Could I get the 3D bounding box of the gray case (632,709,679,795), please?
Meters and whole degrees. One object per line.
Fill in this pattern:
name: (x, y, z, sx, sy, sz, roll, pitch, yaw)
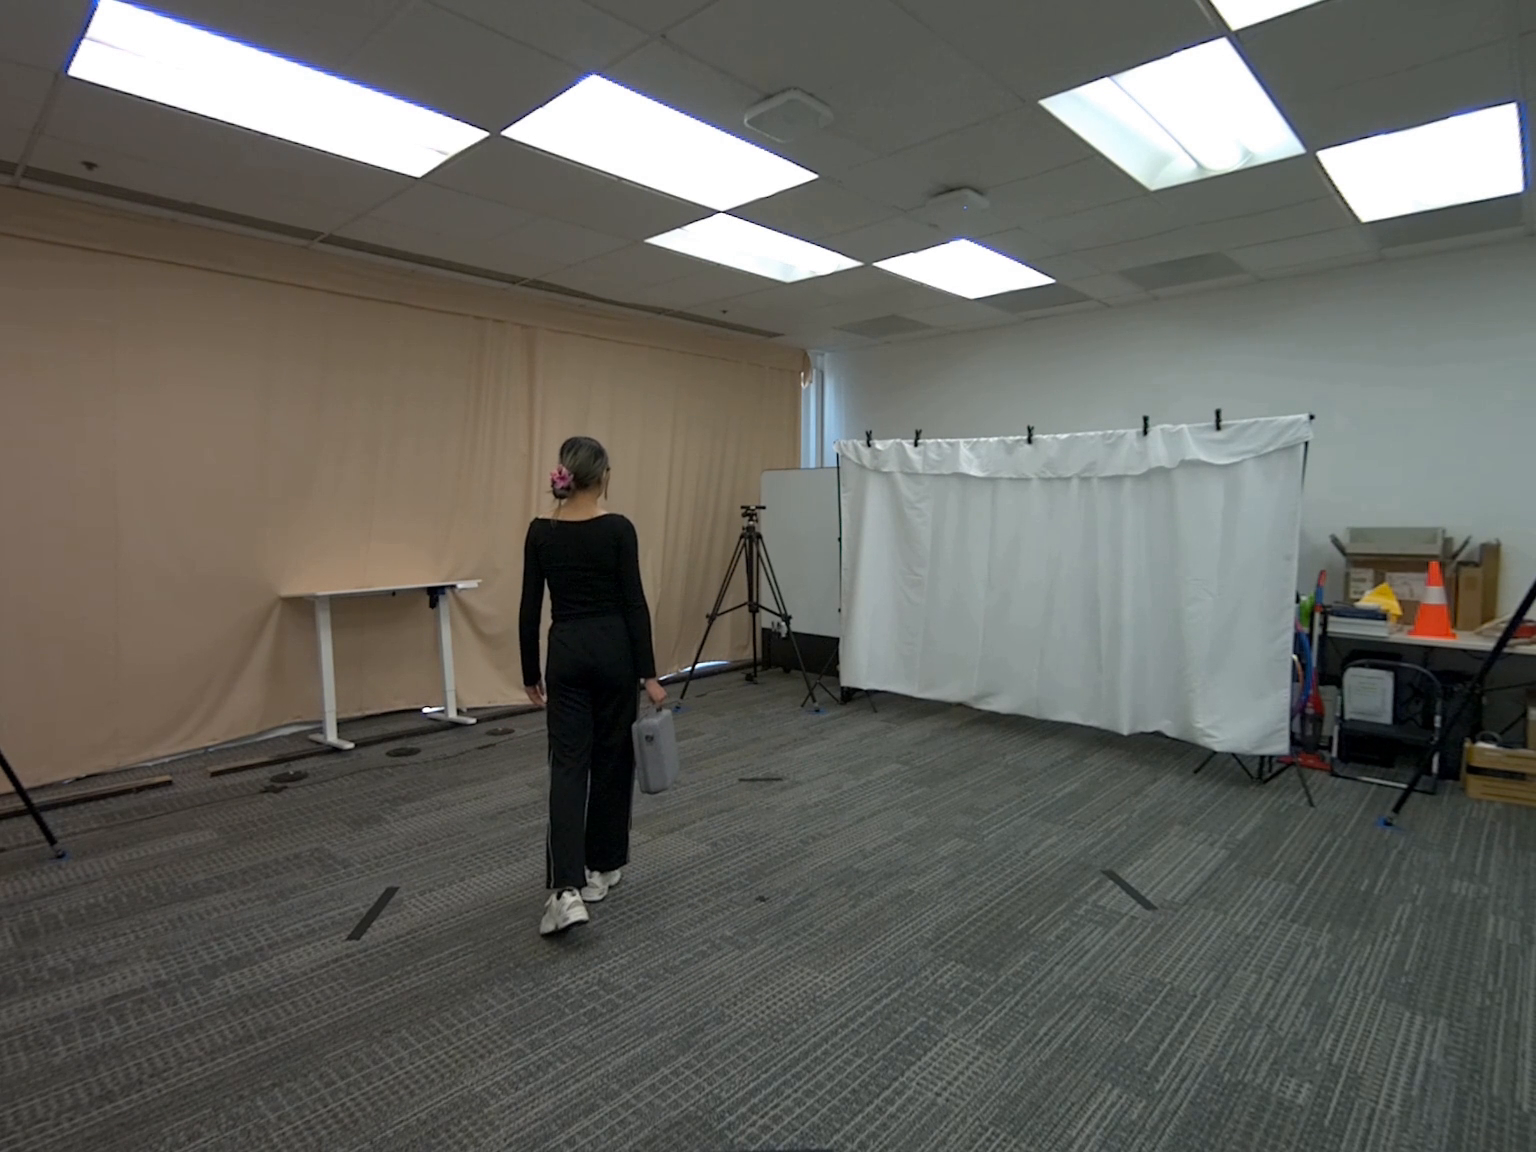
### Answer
gray case: (-0.393, 0.611, 2.975, 0.105, 0.260, 0.255, -5, 2, 5)
